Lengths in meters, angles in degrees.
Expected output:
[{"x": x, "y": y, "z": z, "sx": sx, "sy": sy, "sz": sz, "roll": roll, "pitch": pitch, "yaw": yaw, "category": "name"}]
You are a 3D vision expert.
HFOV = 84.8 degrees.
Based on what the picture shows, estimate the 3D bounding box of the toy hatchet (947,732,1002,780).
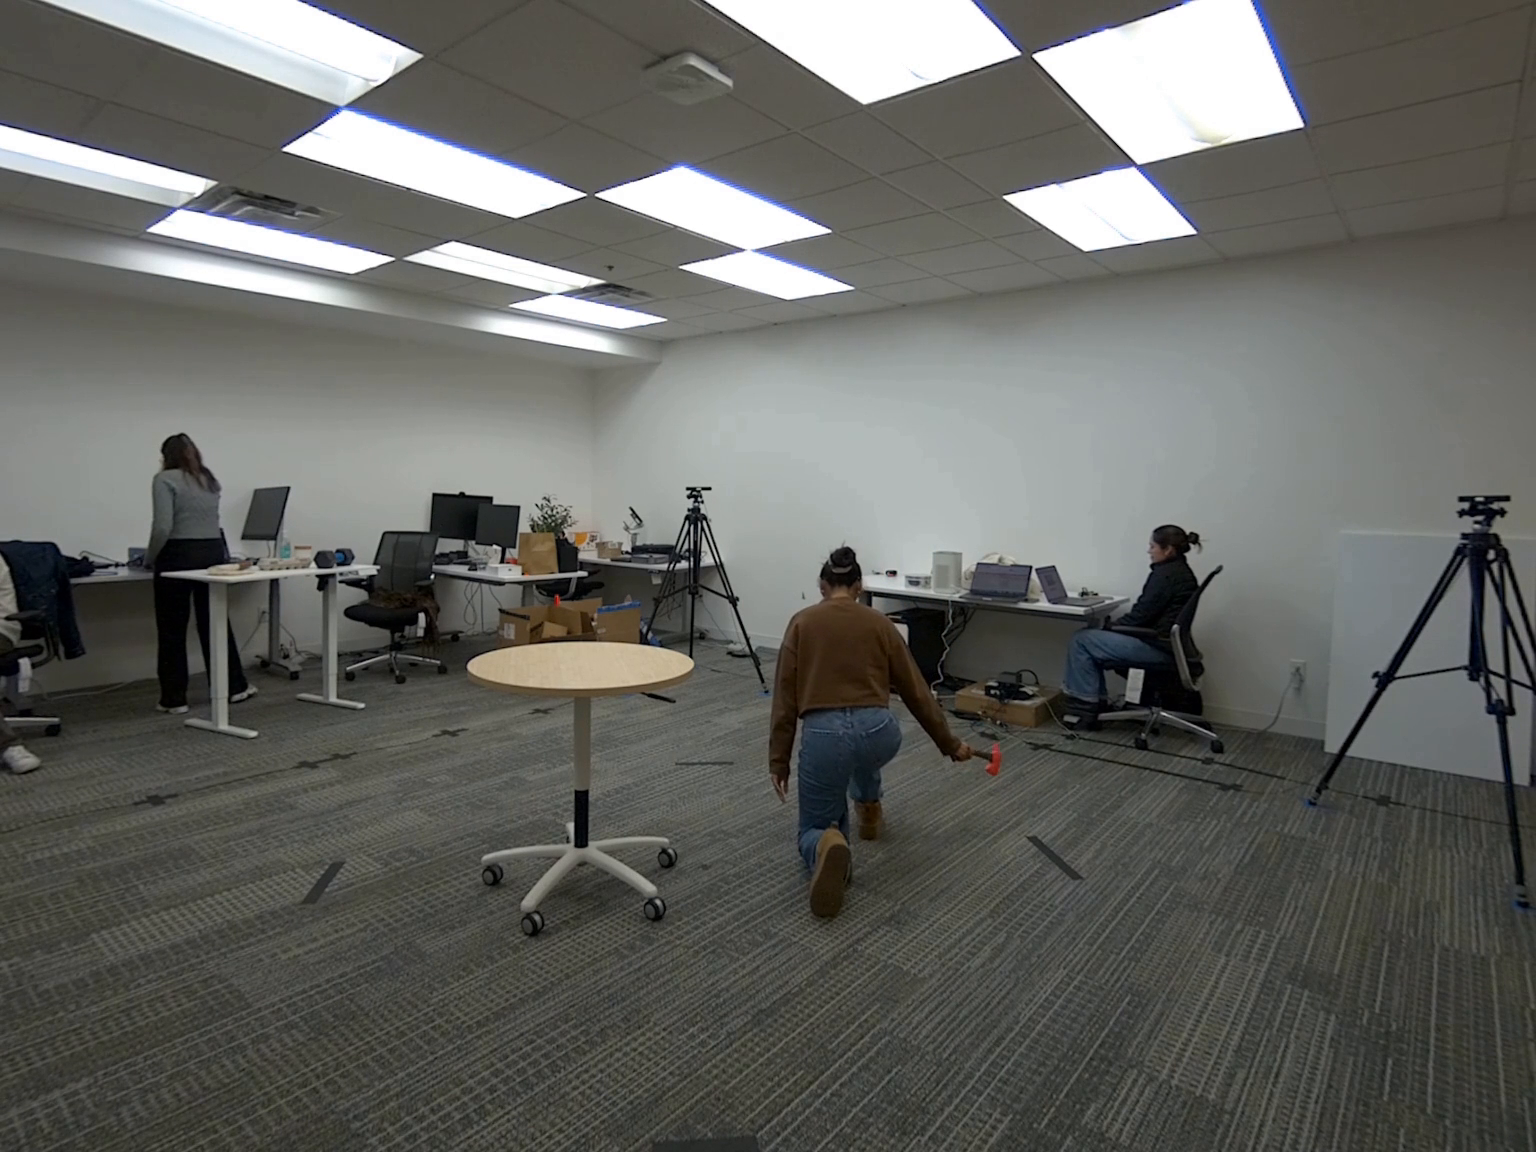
[{"x": 0.829, "y": 0.720, "z": 3.380, "sx": 0.263, "sy": 0.131, "sz": 0.030, "roll": -5, "pitch": 0, "yaw": -32, "category": "toy hatchet"}]
